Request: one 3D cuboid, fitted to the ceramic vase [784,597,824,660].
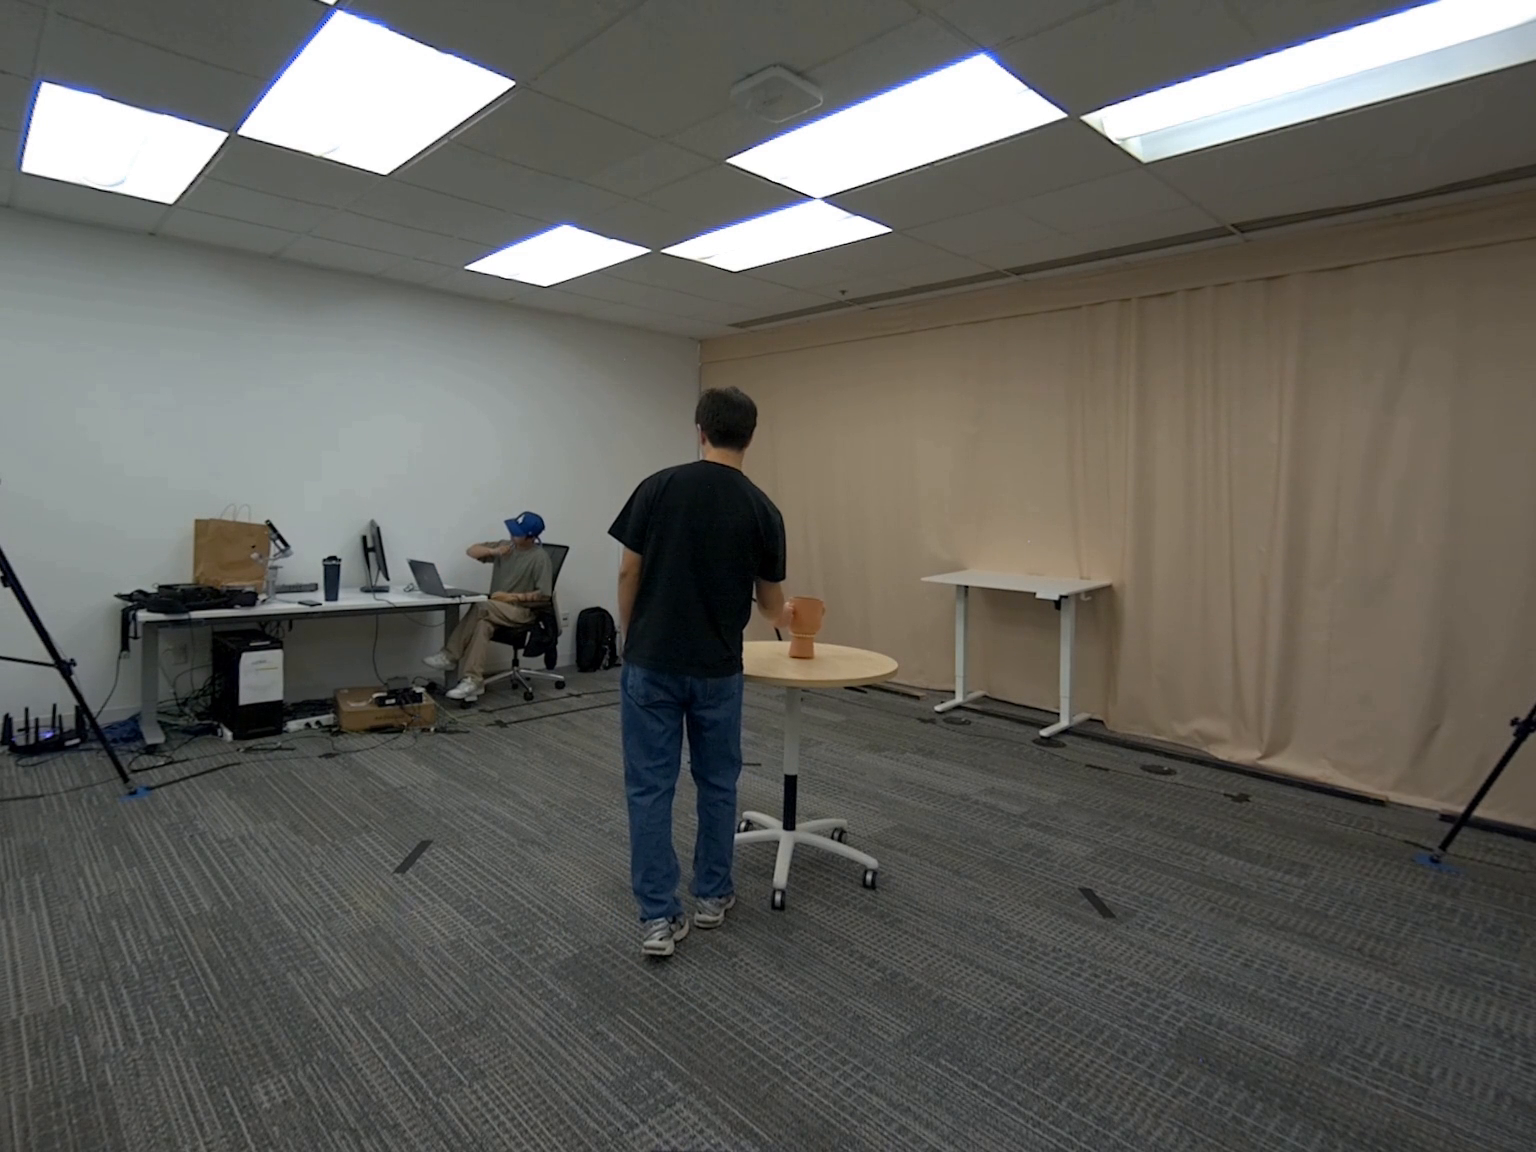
[{"bbox_3d":[0.126,0.195,3.203,0.158,0.220,0.135,5,0,-2],"label":"ceramic vase"}]
